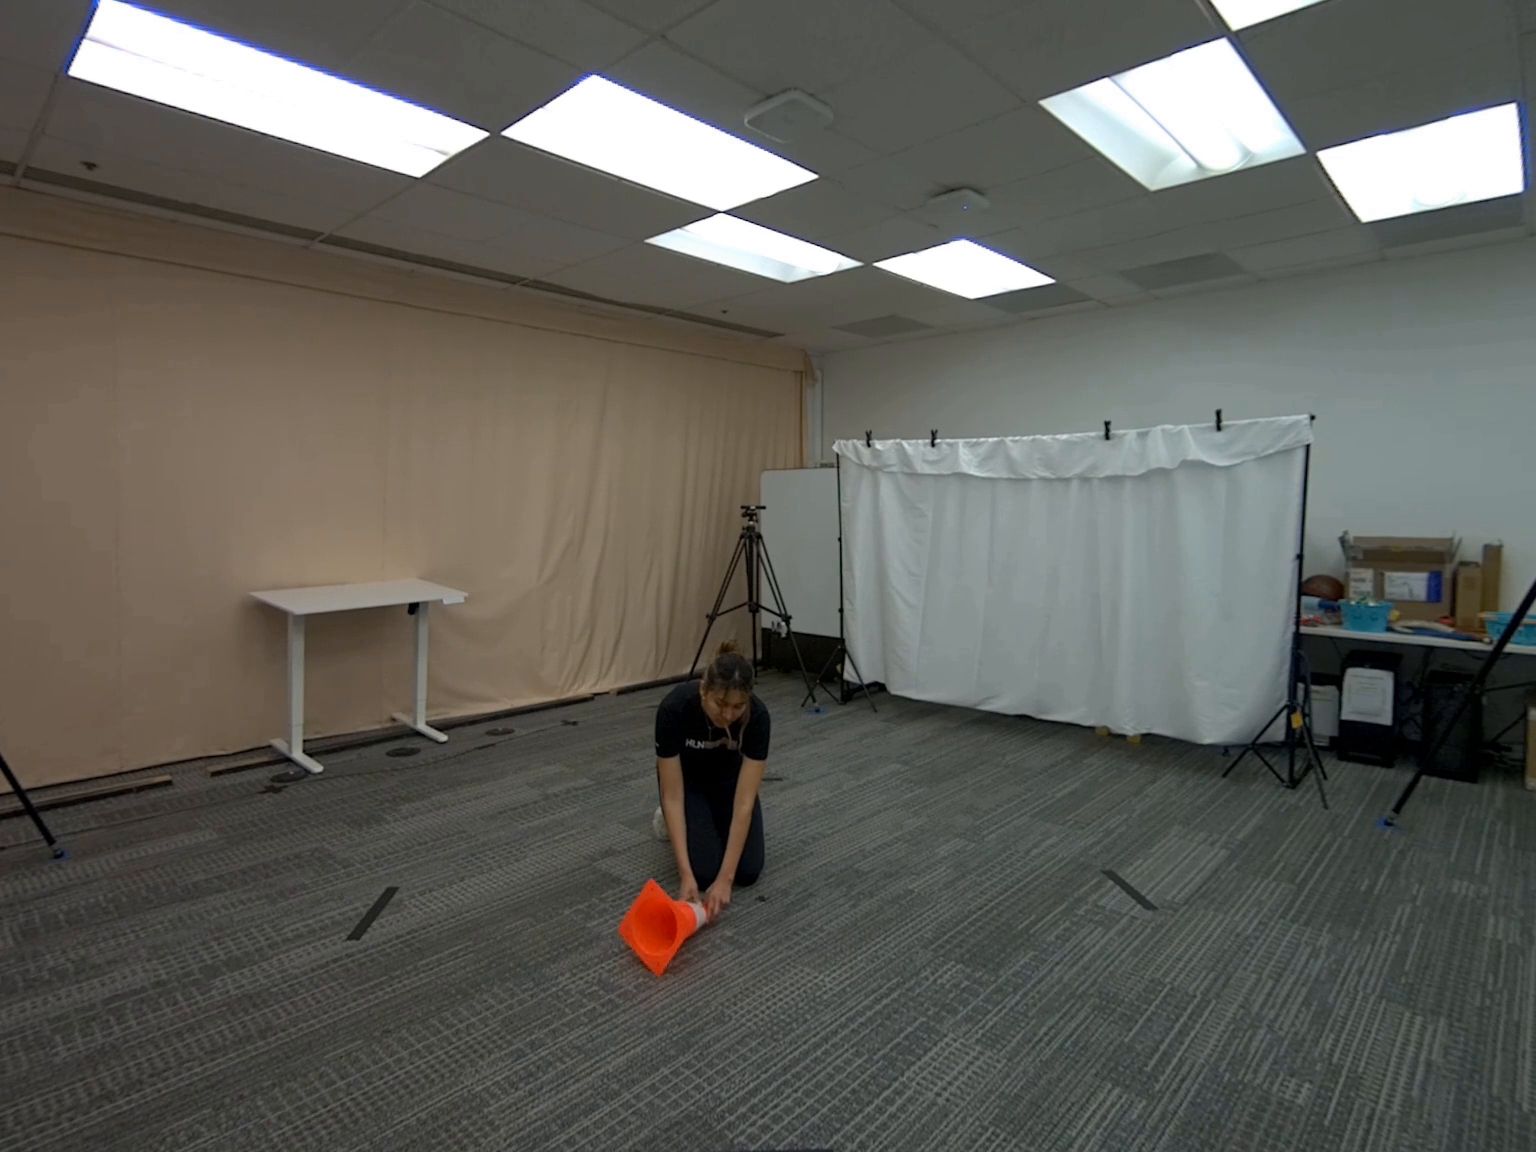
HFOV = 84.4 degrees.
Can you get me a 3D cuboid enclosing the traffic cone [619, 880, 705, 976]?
[{"bbox_3d":[-0.260,1.100,2.699,0.212,0.203,0.371,35,5,30],"label":"traffic cone"}]
